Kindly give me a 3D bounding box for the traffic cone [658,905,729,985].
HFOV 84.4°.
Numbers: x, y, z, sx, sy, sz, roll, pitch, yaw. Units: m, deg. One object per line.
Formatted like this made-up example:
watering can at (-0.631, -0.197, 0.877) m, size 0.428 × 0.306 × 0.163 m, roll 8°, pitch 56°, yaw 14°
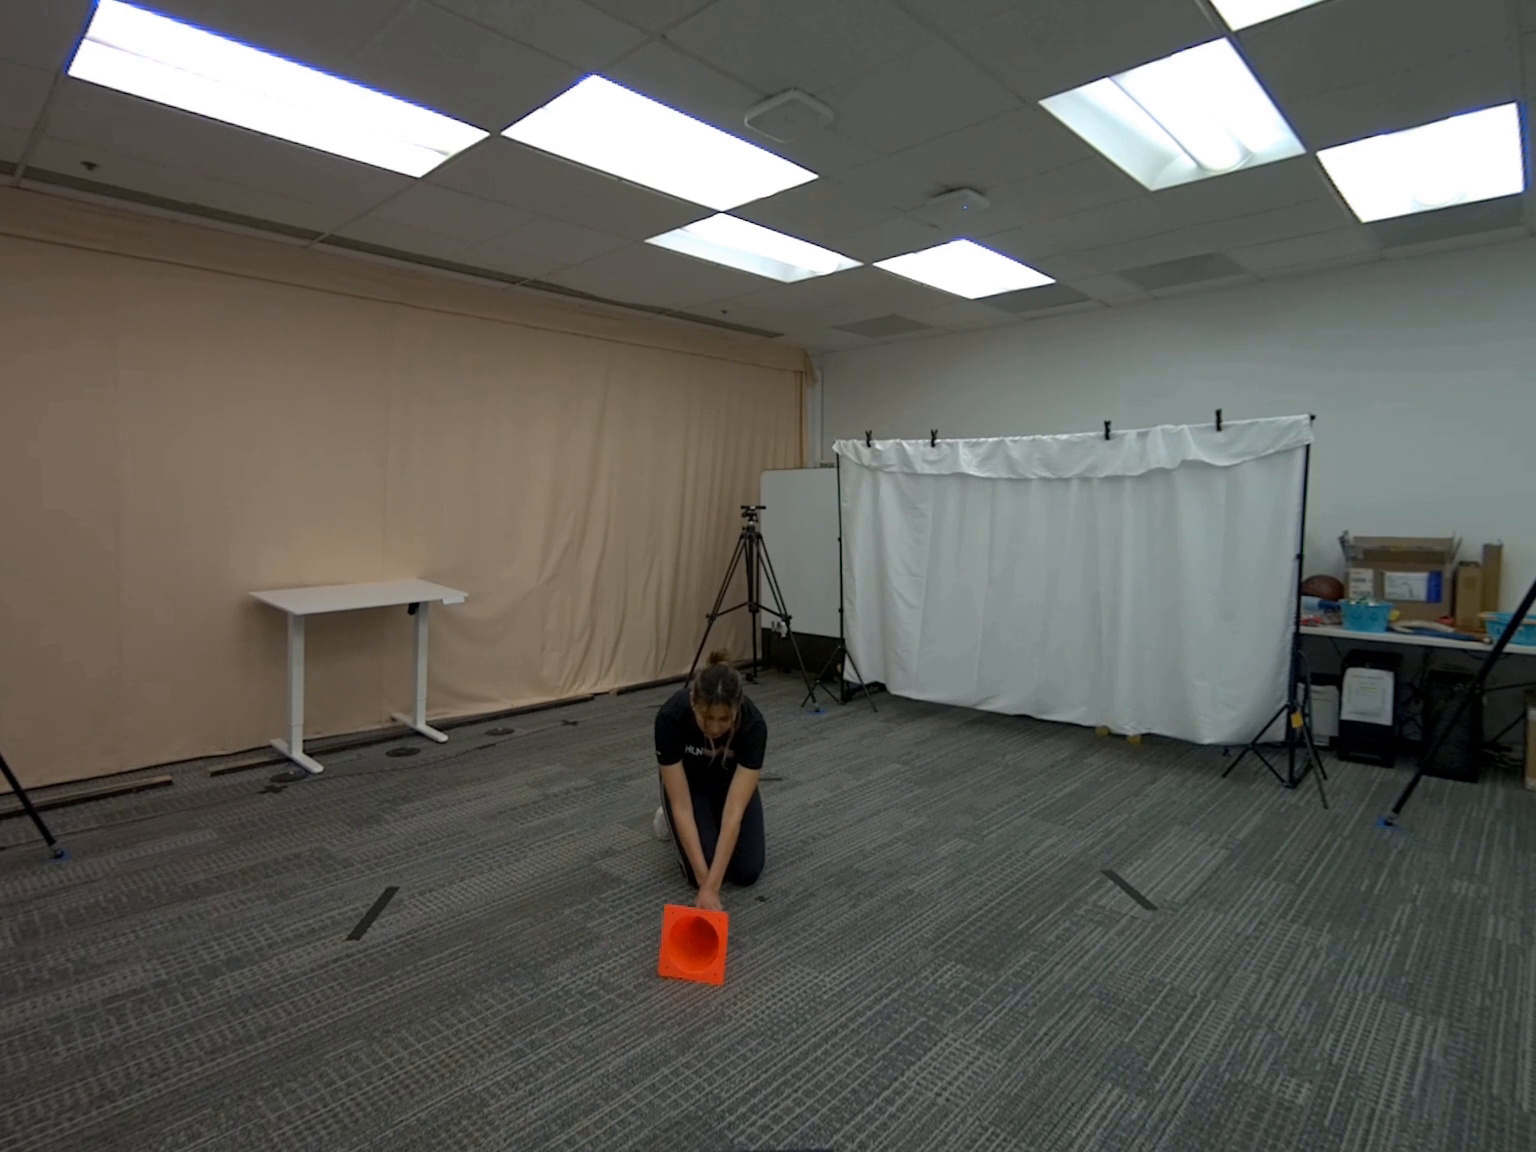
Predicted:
traffic cone at (-0.194, 1.119, 2.668) m, size 0.206 × 0.206 × 0.377 m, roll 3°, pitch -10°, yaw 9°
